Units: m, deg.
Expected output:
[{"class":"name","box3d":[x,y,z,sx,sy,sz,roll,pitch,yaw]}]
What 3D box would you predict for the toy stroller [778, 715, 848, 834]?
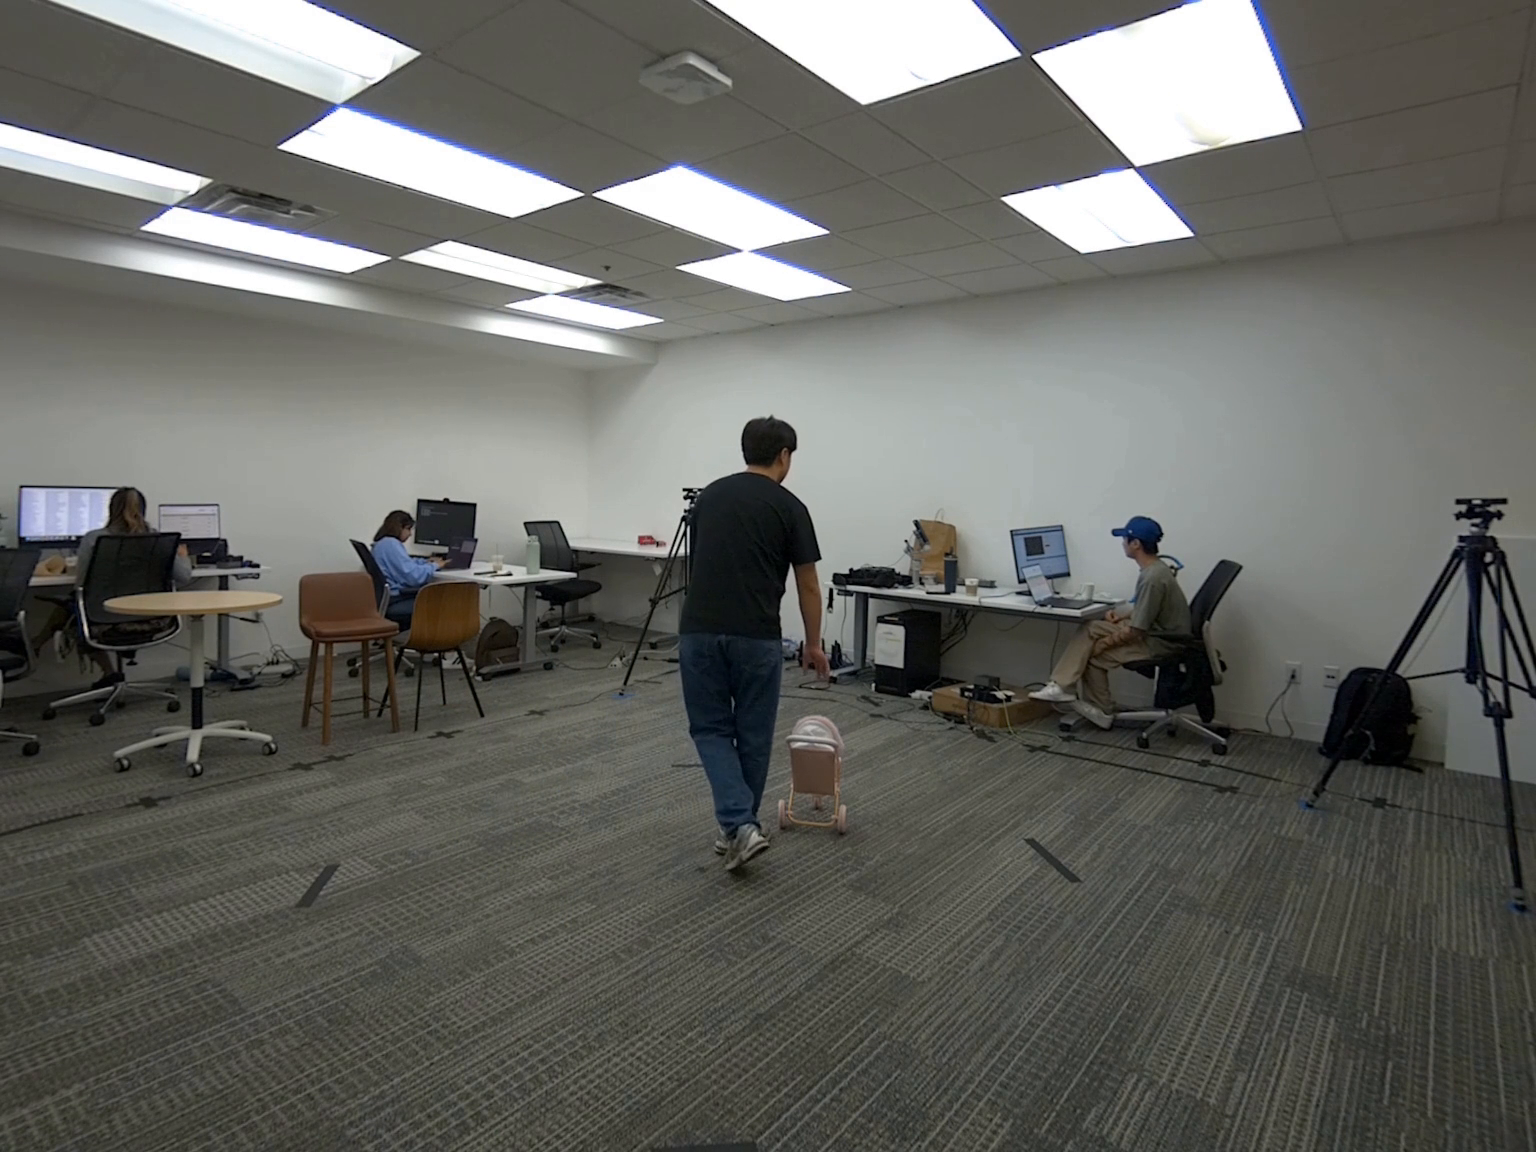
[{"class":"toy stroller","box3d":[0.188,0.811,3.554,0.286,0.525,0.342,3,20,13]}]
